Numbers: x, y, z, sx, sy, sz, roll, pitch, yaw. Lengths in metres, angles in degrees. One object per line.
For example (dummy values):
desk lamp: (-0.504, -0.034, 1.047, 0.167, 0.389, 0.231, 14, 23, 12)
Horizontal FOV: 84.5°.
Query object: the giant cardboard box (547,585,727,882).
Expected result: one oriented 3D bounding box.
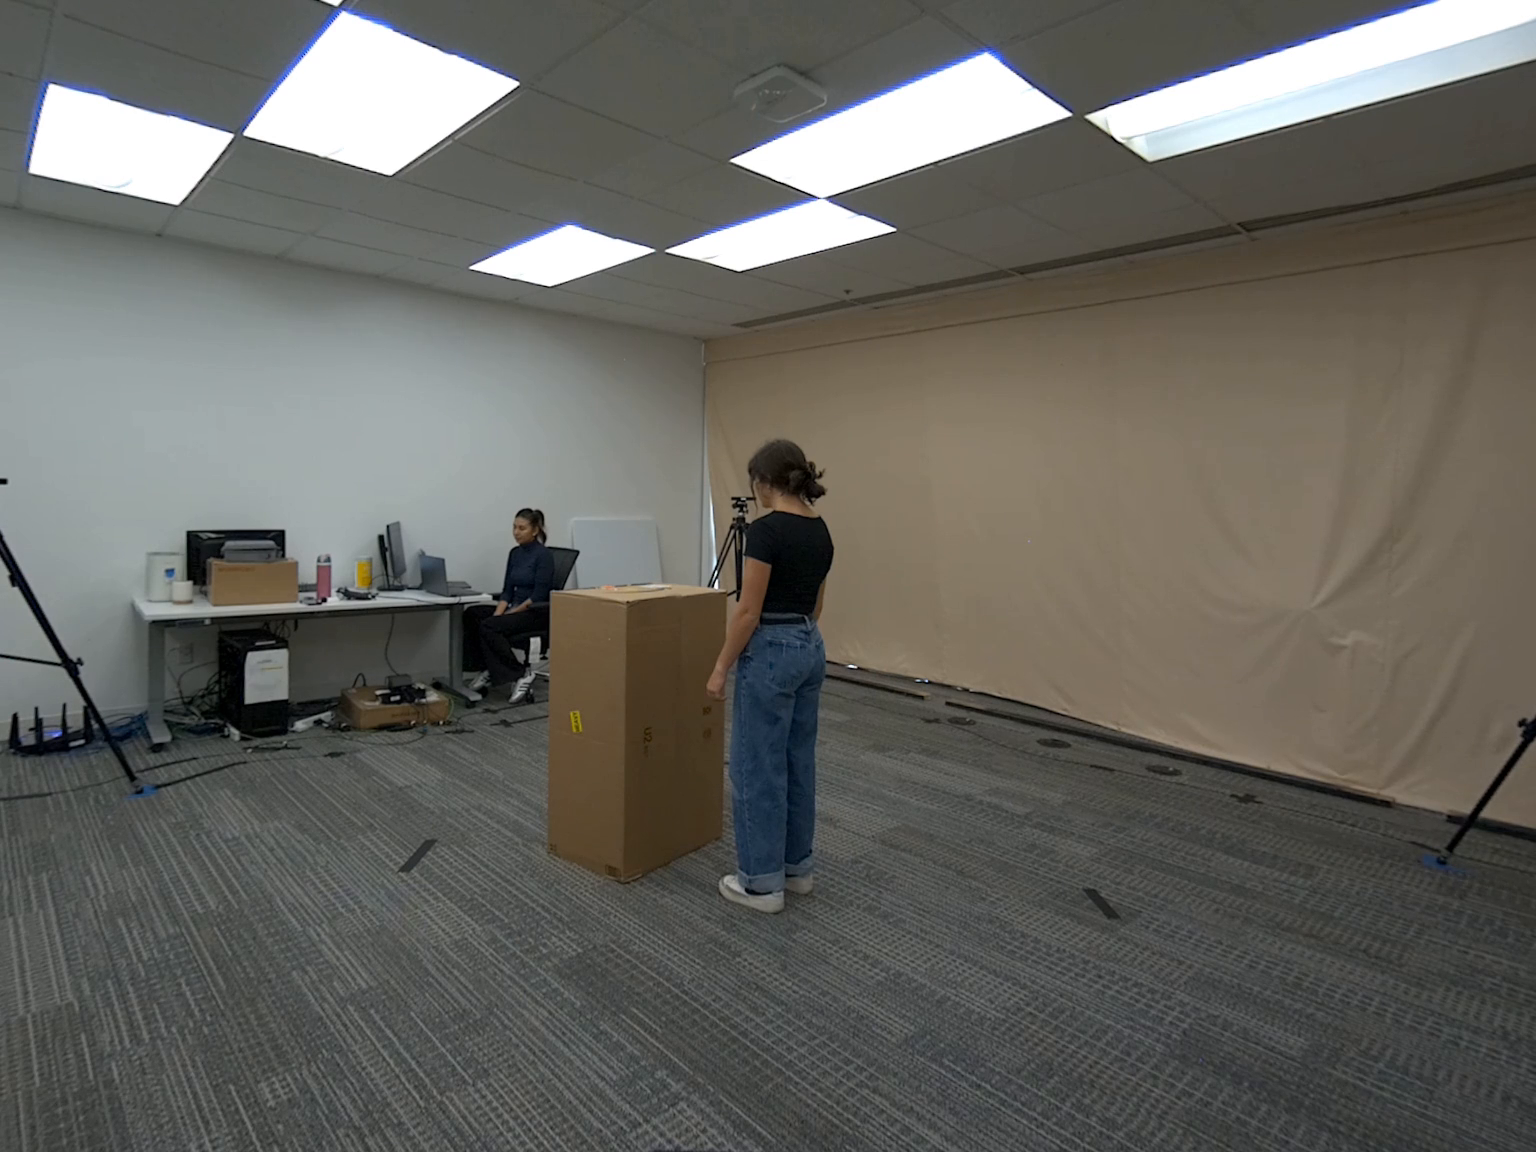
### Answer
giant cardboard box: (-0.518, 0.568, 3.350, 0.437, 1.023, 0.565, 4, 4, 37)
